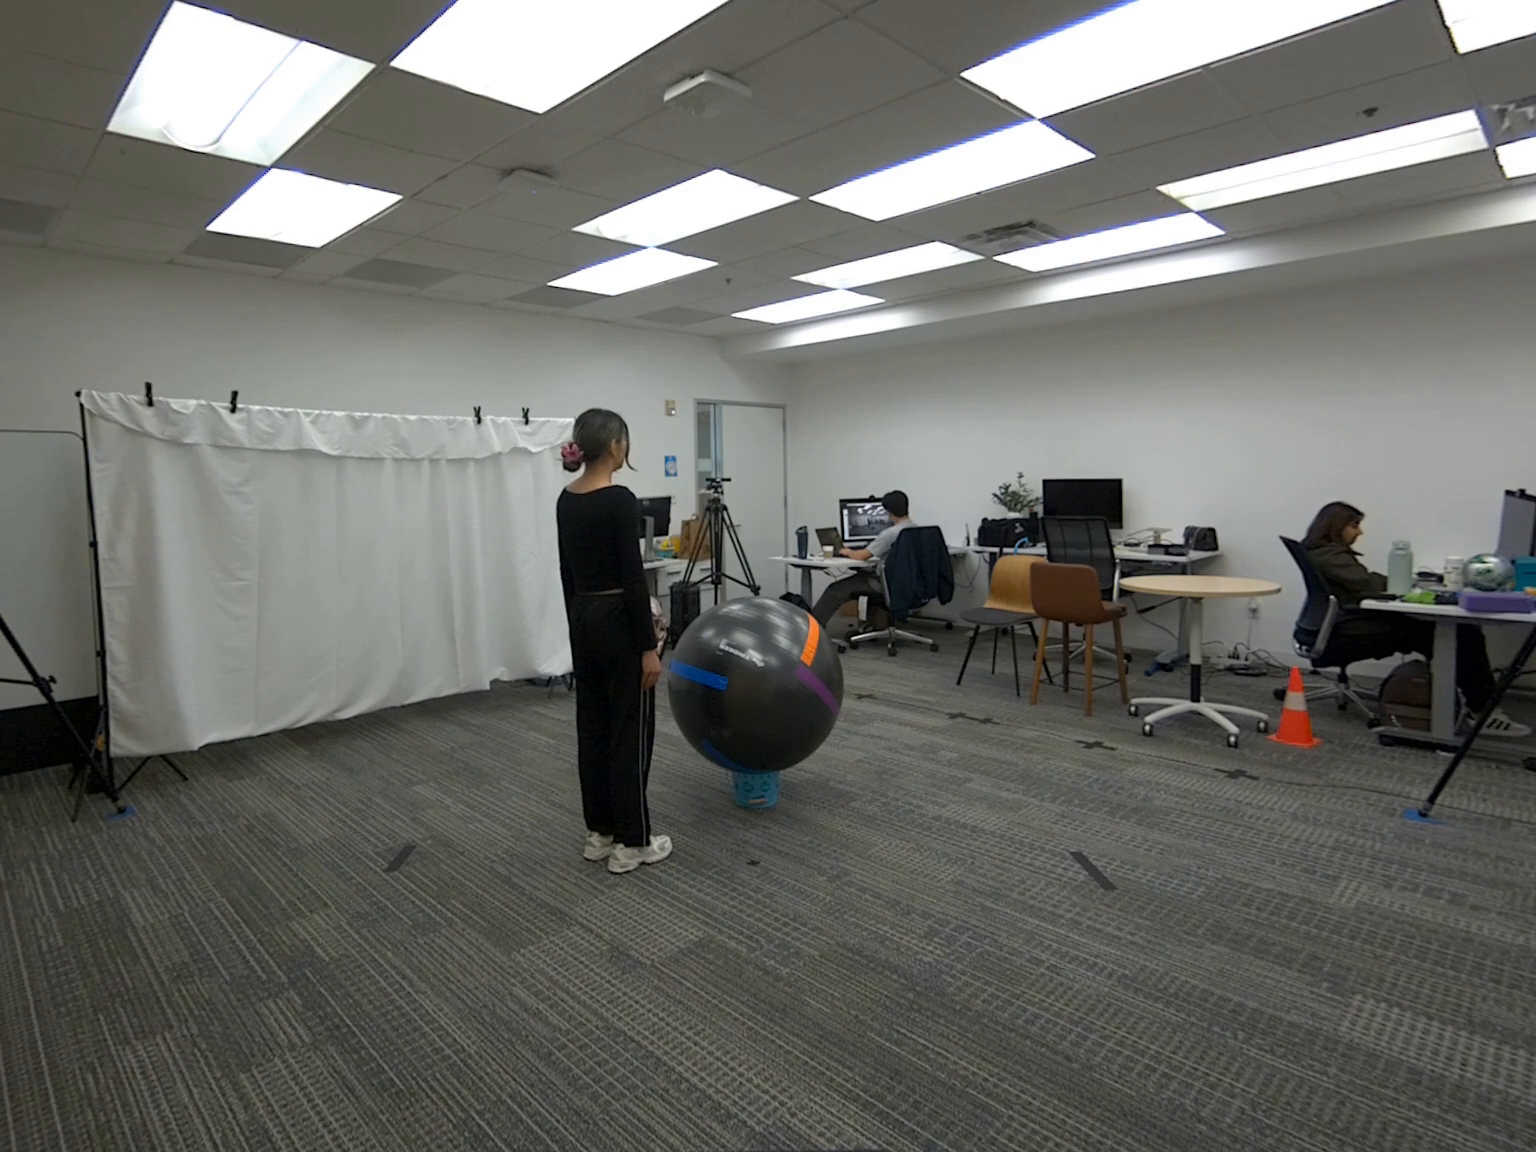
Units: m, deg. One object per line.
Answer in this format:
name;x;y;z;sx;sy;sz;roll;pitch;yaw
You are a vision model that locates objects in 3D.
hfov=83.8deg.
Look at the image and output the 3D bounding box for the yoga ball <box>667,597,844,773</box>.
yoga ball;-0.057;0.466;3.686;0.757;0.755;0.762;-1;5;-2
